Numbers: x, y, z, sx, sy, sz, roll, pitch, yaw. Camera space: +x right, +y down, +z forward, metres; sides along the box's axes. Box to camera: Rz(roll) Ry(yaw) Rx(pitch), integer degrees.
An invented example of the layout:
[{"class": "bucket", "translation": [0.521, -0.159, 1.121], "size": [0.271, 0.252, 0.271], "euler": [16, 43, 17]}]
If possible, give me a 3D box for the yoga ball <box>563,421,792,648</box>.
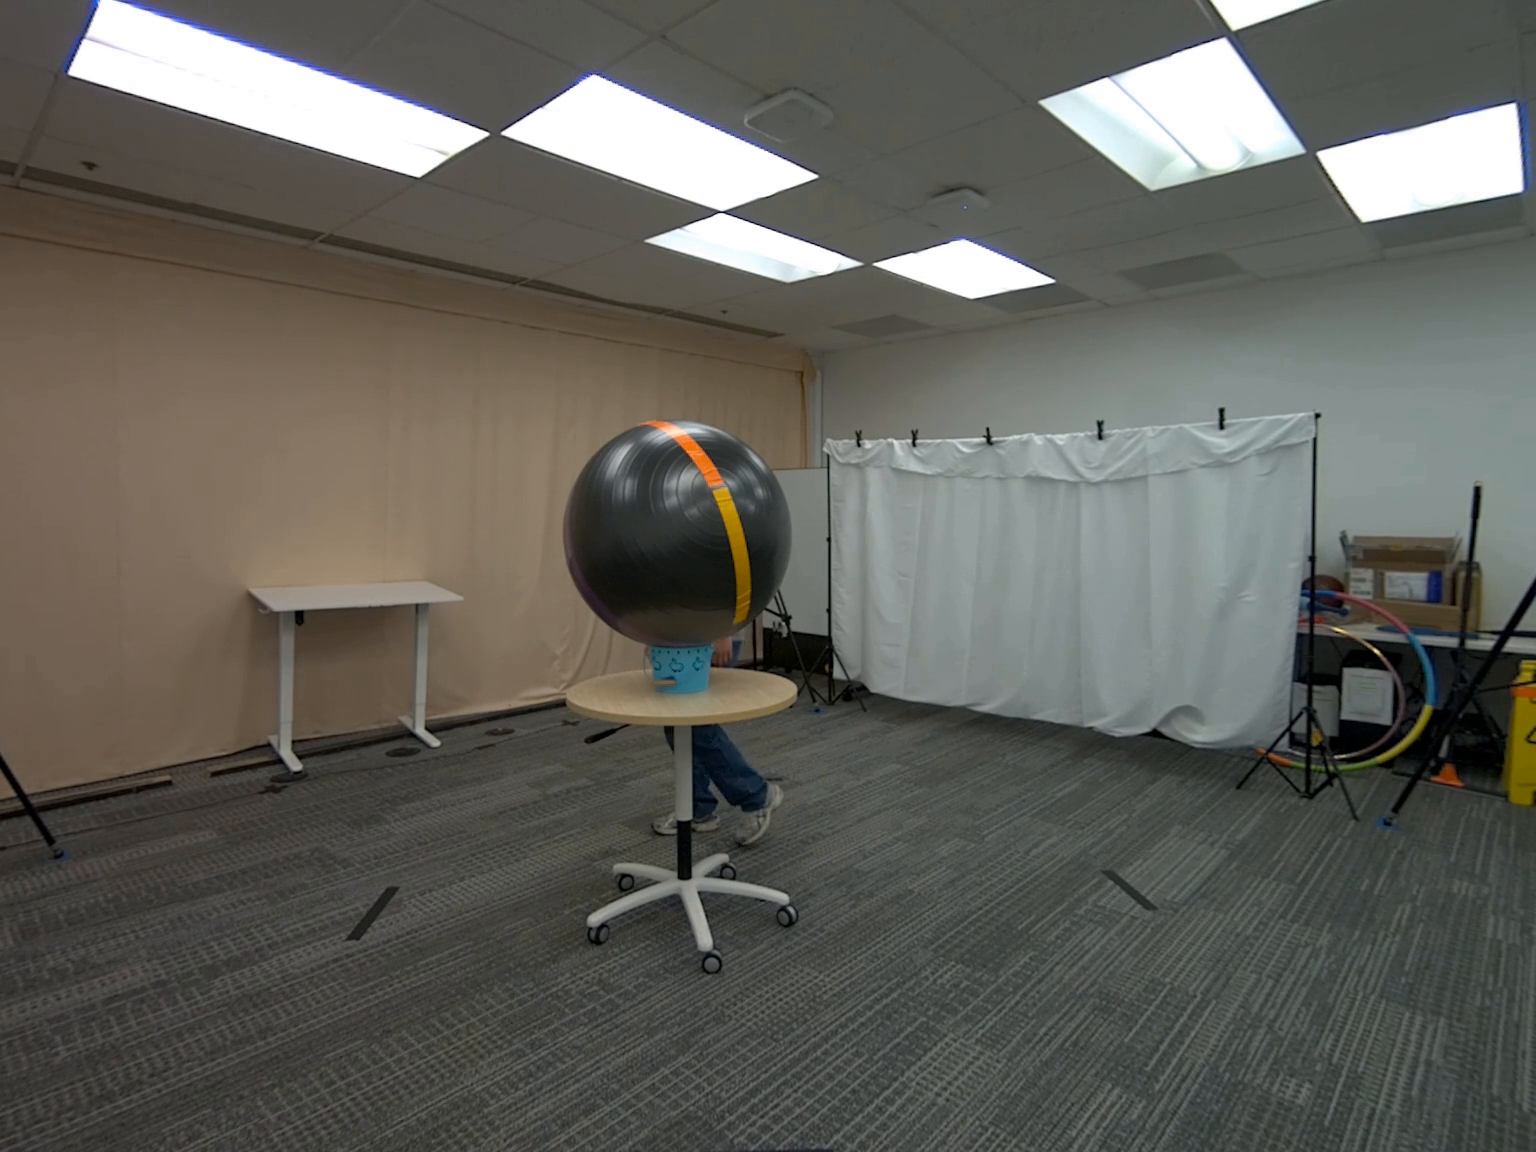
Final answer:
[{"class": "yoga ball", "translation": [-0.301, -0.133, 2.800], "size": [0.757, 0.756, 0.760], "euler": [0, 4, -2]}]
